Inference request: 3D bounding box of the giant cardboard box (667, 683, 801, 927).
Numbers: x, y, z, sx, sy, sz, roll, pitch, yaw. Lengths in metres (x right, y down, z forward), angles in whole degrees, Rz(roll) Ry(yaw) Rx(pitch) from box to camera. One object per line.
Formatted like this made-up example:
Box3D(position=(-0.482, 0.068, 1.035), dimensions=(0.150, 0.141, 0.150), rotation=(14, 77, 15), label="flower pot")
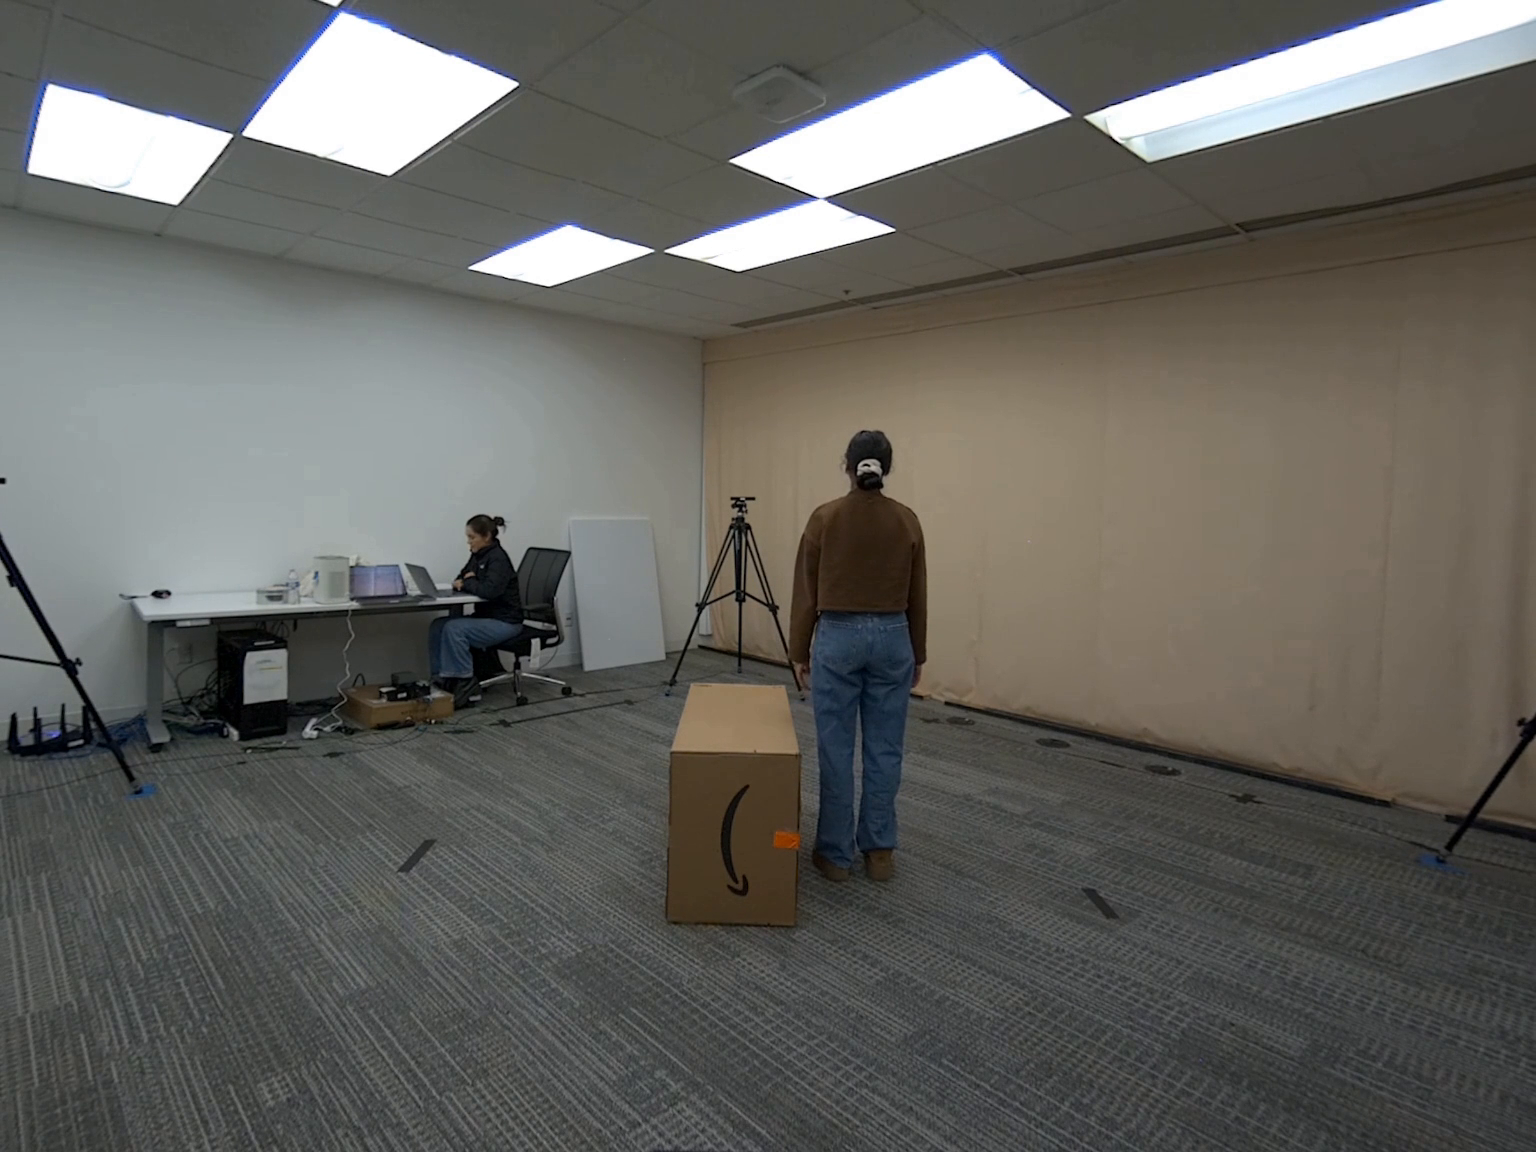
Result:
Box3D(position=(-0.128, 0.811, 3.234), dimensions=(0.447, 0.582, 1.030), rotation=(0, 5, -1), label="giant cardboard box")
